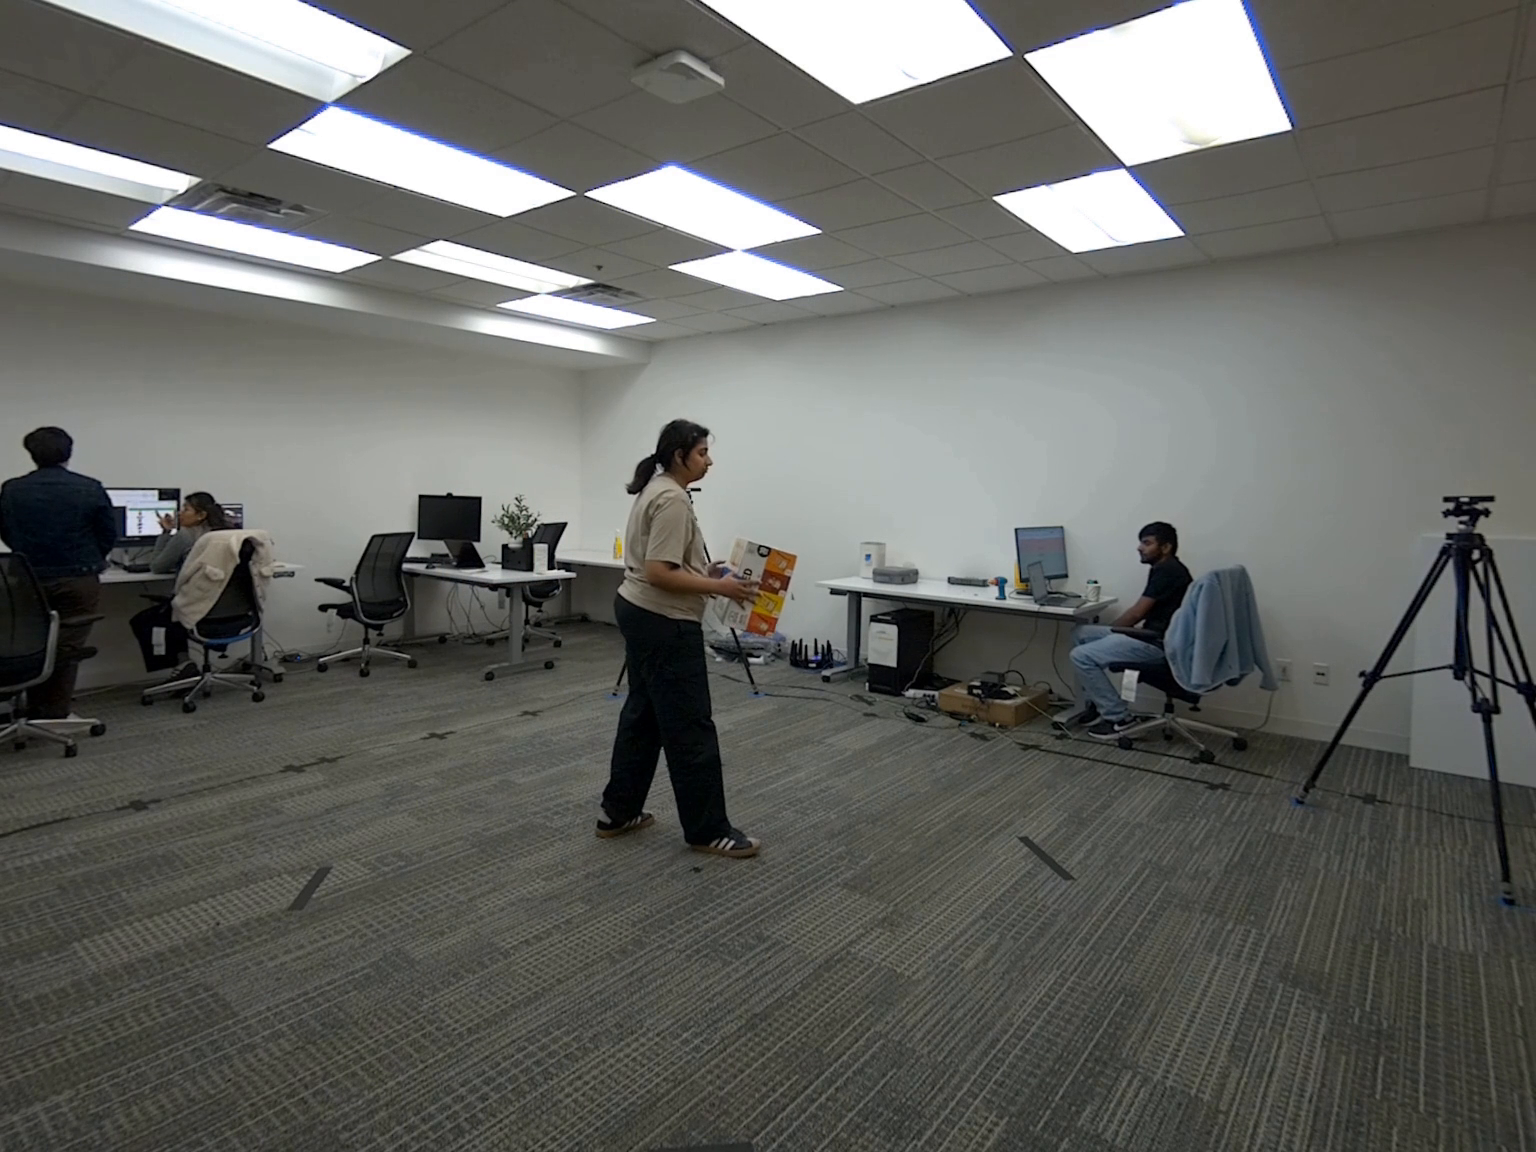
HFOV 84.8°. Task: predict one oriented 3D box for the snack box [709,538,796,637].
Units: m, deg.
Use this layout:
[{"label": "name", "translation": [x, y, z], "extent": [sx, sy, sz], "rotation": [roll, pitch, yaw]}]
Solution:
[{"label": "snack box", "translation": [-0.067, 0.031, 3.447], "extent": [0.203, 0.340, 0.410], "rotation": [16, 2, -10]}]
